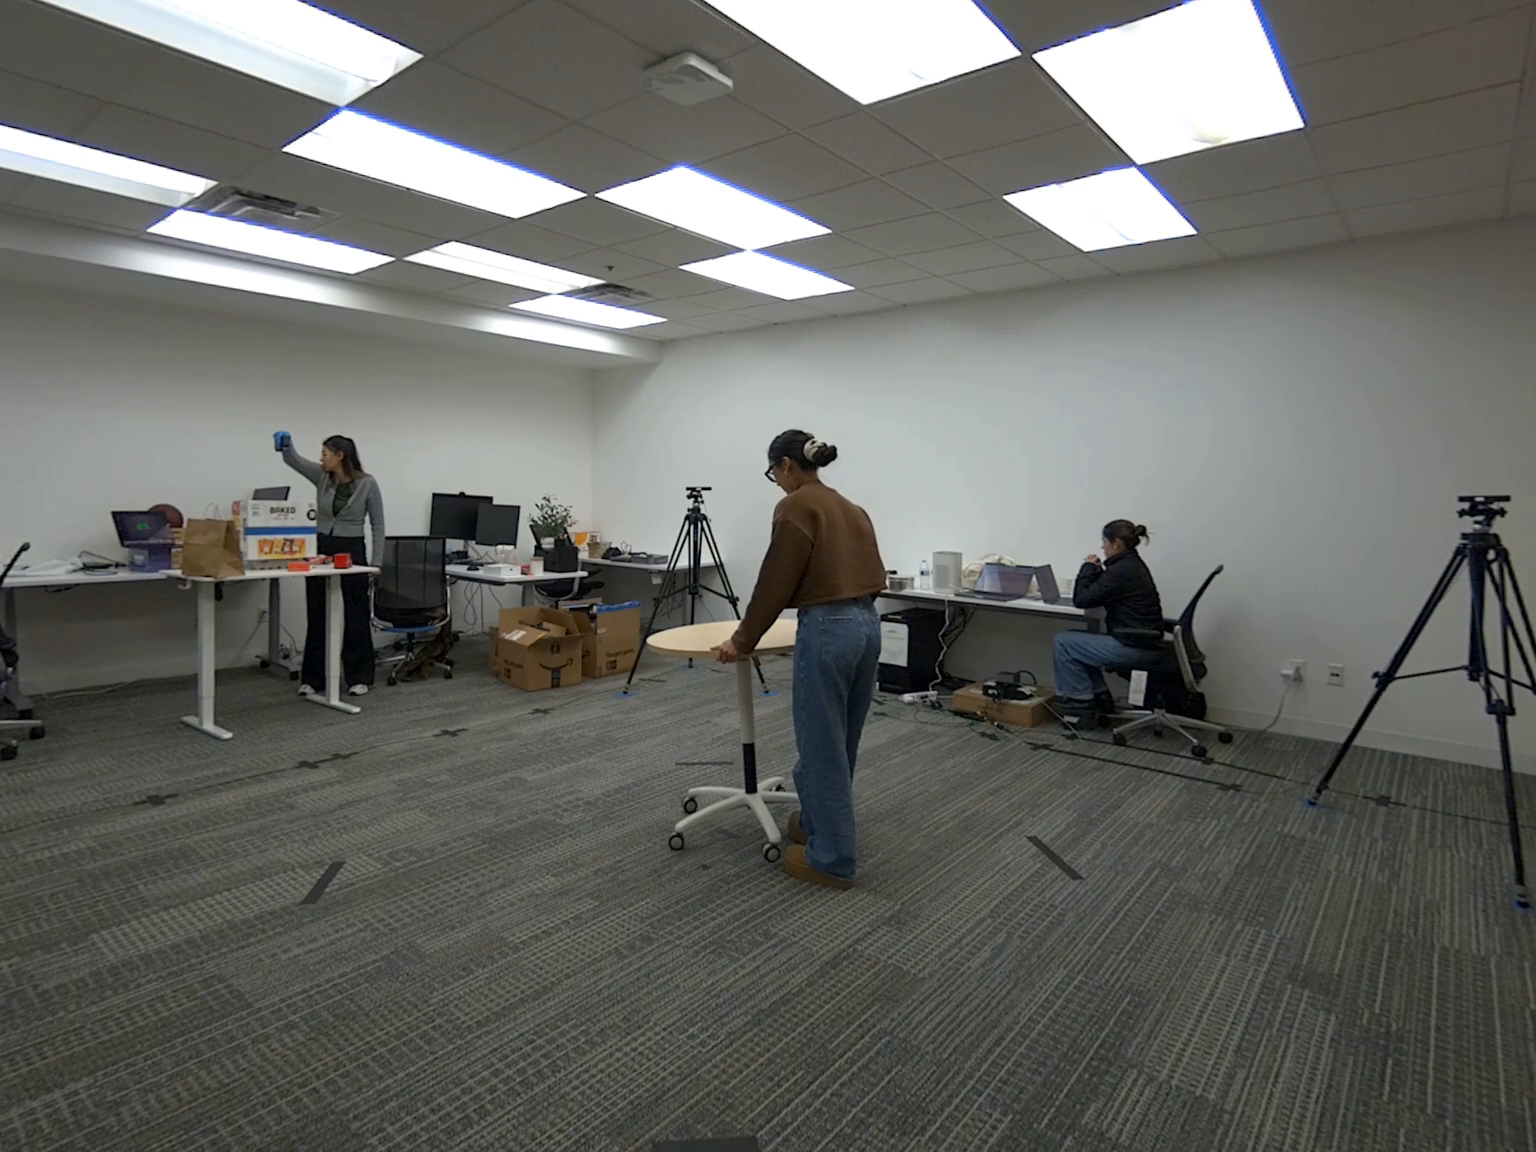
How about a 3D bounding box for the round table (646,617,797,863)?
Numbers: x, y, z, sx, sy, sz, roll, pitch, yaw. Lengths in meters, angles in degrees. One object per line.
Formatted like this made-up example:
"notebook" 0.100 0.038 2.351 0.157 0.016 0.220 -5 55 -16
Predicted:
"round table" -0.103 0.624 3.438 0.763 0.792 0.767 -4 3 -2
